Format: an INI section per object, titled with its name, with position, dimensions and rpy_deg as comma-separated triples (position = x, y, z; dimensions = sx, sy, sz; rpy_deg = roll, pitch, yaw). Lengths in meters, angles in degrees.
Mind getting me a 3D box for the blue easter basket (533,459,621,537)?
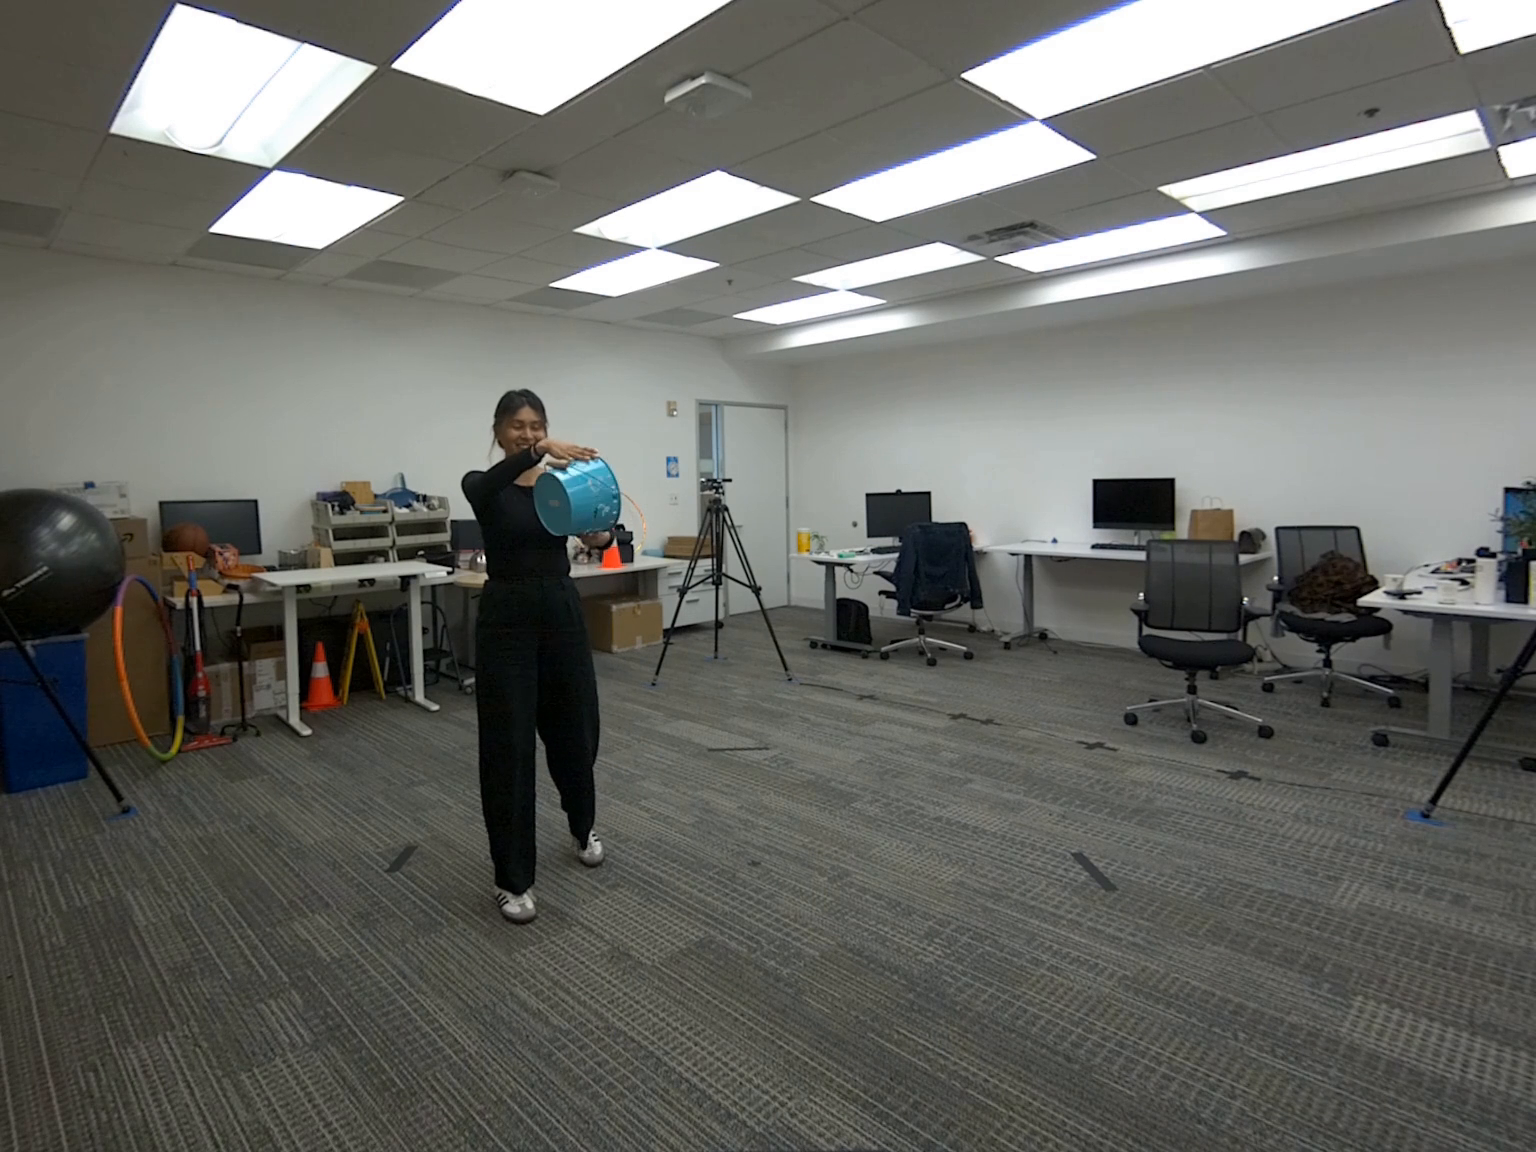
[blue easter basket]
position = -0.540, -0.222, 2.420
dimensions = 0.251, 0.240, 0.153
rpy_deg = 4, 18, 45
